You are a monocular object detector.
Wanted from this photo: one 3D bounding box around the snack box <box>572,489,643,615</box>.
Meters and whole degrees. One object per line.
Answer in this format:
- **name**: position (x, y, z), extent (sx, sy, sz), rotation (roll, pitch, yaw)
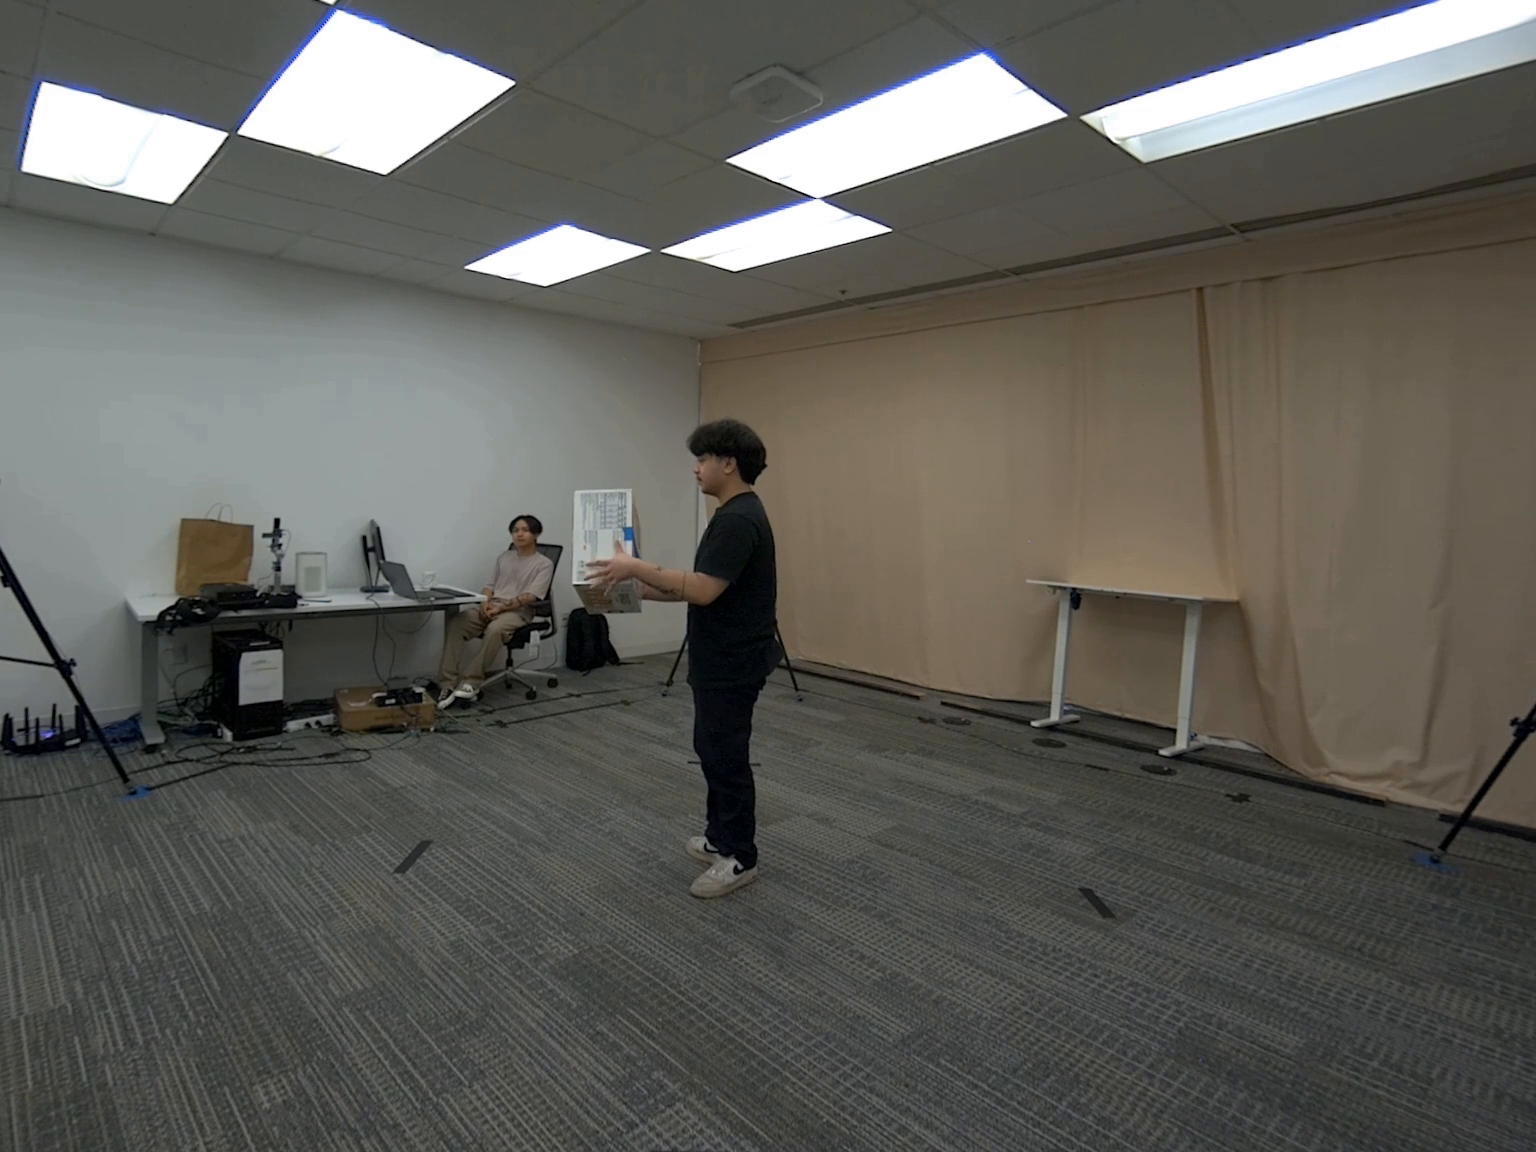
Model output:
- **snack box**: position (-0.579, -0.077, 3.038), extent (0.205, 0.345, 0.400), rotation (-2, -17, -4)
